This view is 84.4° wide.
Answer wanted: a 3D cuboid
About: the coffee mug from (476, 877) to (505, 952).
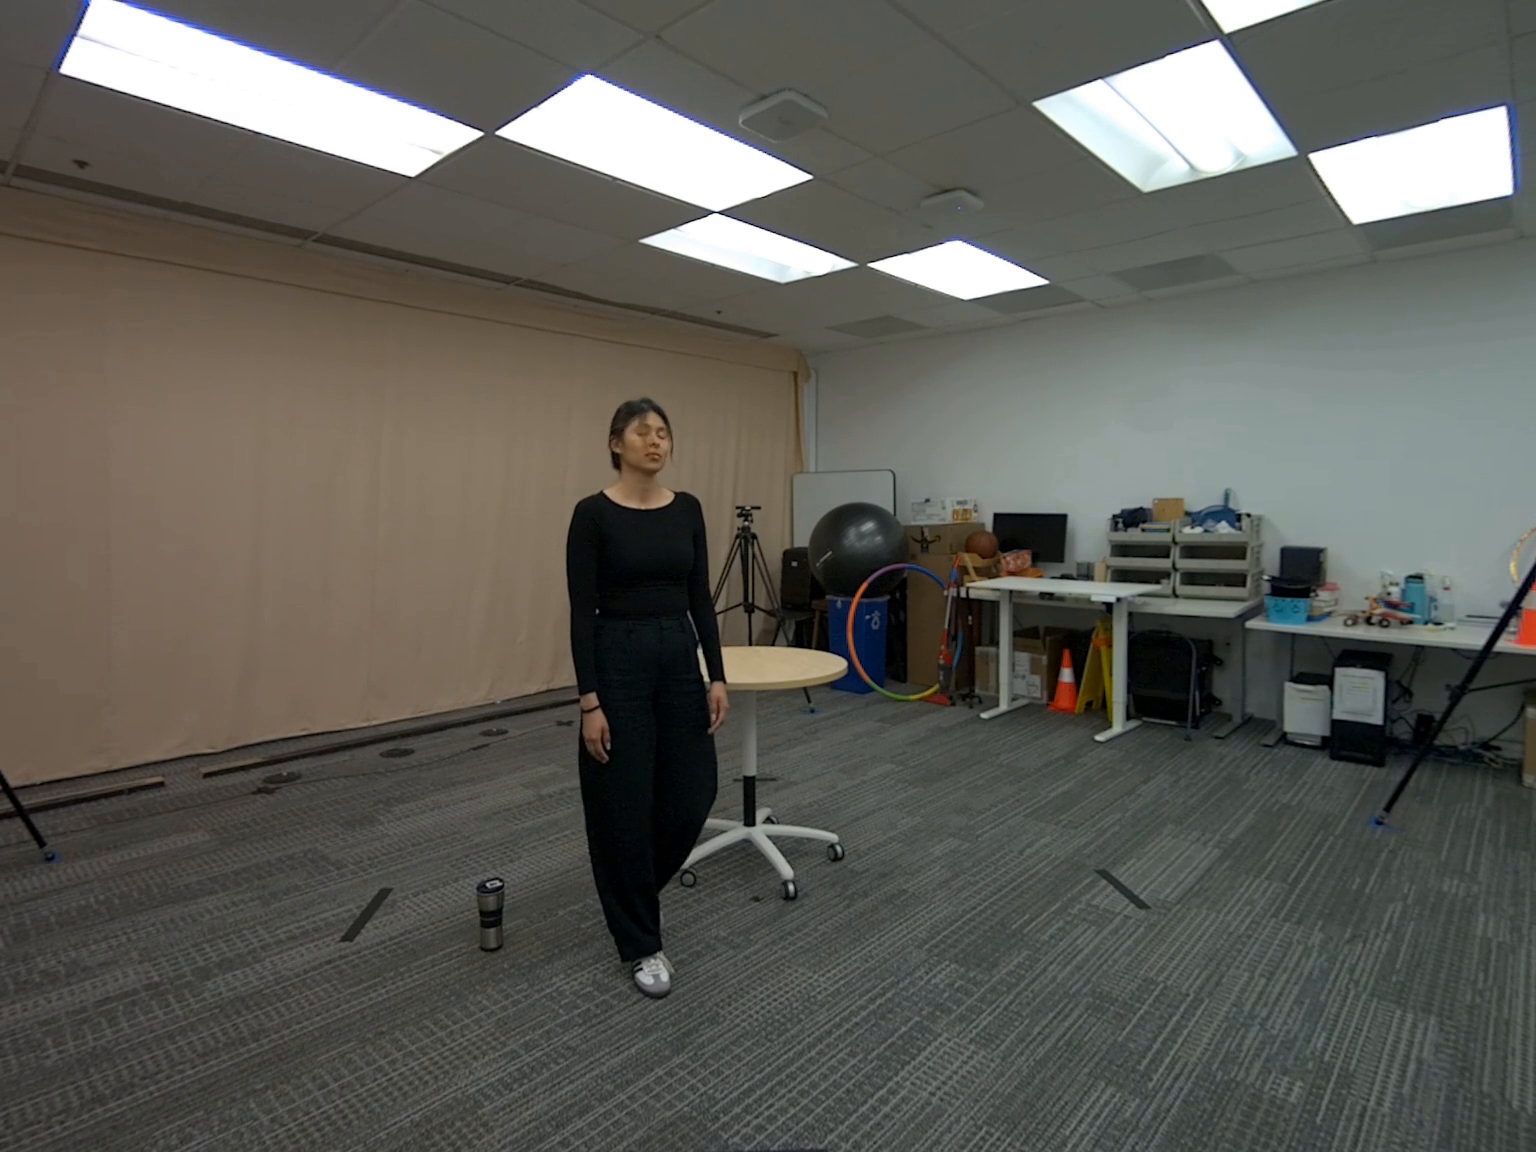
[{"bbox_3d":[-0.866,1.072,2.689,0.090,0.202,0.118,-3,4,41],"label":"coffee mug"}]
